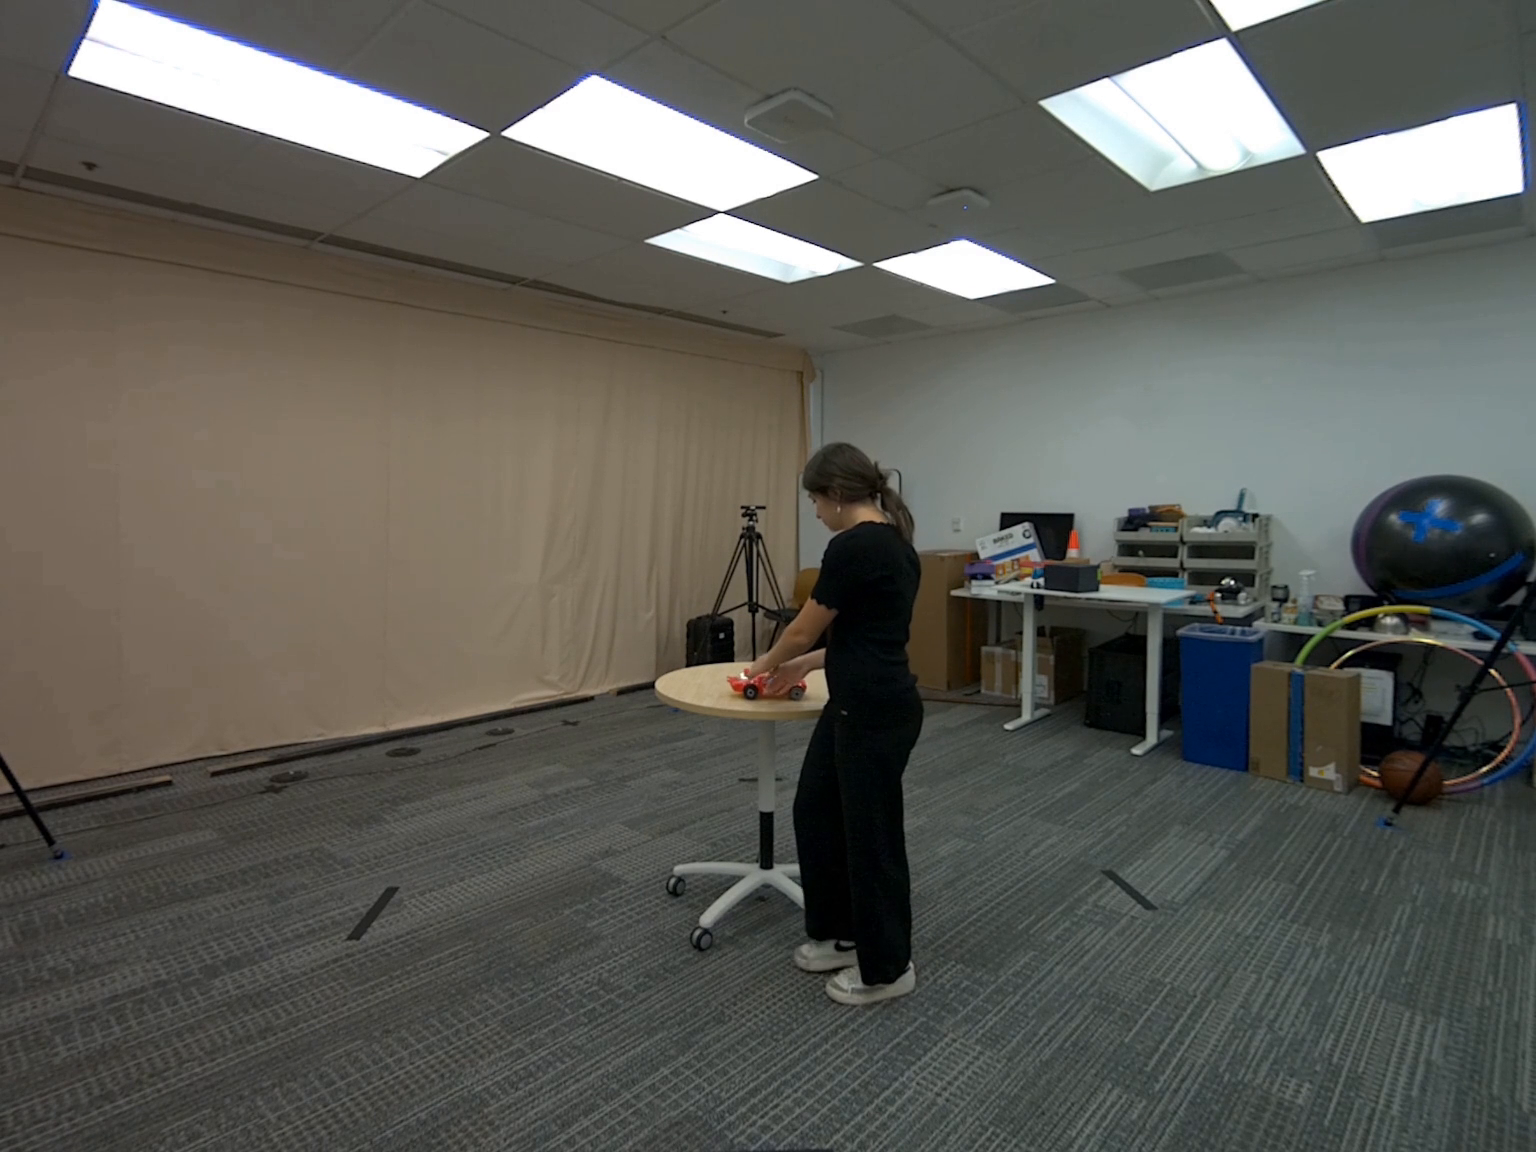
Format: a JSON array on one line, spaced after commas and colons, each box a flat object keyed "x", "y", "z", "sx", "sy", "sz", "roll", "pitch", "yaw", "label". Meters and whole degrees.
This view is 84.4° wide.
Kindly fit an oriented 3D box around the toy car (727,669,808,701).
[{"x": -0.003, "y": 0.354, "z": 2.691, "sx": 0.254, "sy": 0.083, "sz": 0.130, "roll": 11, "pitch": 4, "yaw": -1, "label": "toy car"}]
